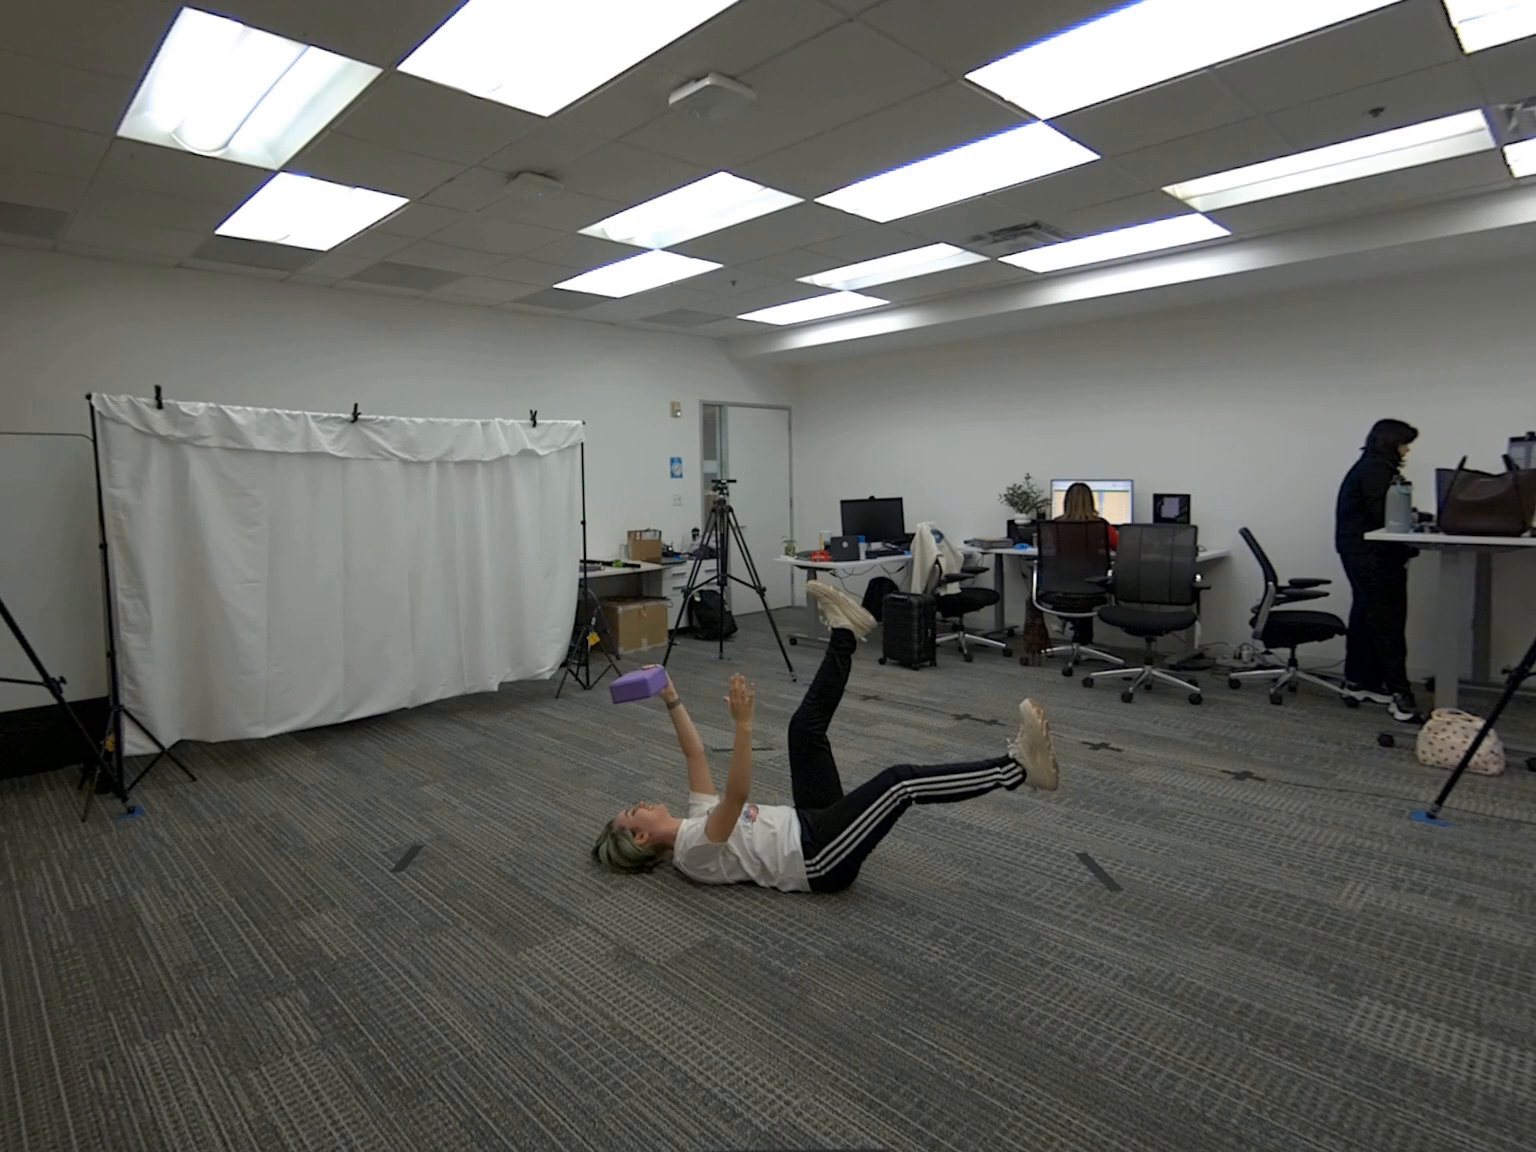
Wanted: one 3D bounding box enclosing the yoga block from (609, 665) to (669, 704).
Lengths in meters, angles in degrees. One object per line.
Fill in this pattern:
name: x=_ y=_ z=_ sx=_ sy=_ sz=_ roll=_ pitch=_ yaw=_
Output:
yoga block: x=-0.456 y=0.397 z=3.122 sx=0.150 sy=0.076 sz=0.227 roll=-10 pitch=2 yaw=11
